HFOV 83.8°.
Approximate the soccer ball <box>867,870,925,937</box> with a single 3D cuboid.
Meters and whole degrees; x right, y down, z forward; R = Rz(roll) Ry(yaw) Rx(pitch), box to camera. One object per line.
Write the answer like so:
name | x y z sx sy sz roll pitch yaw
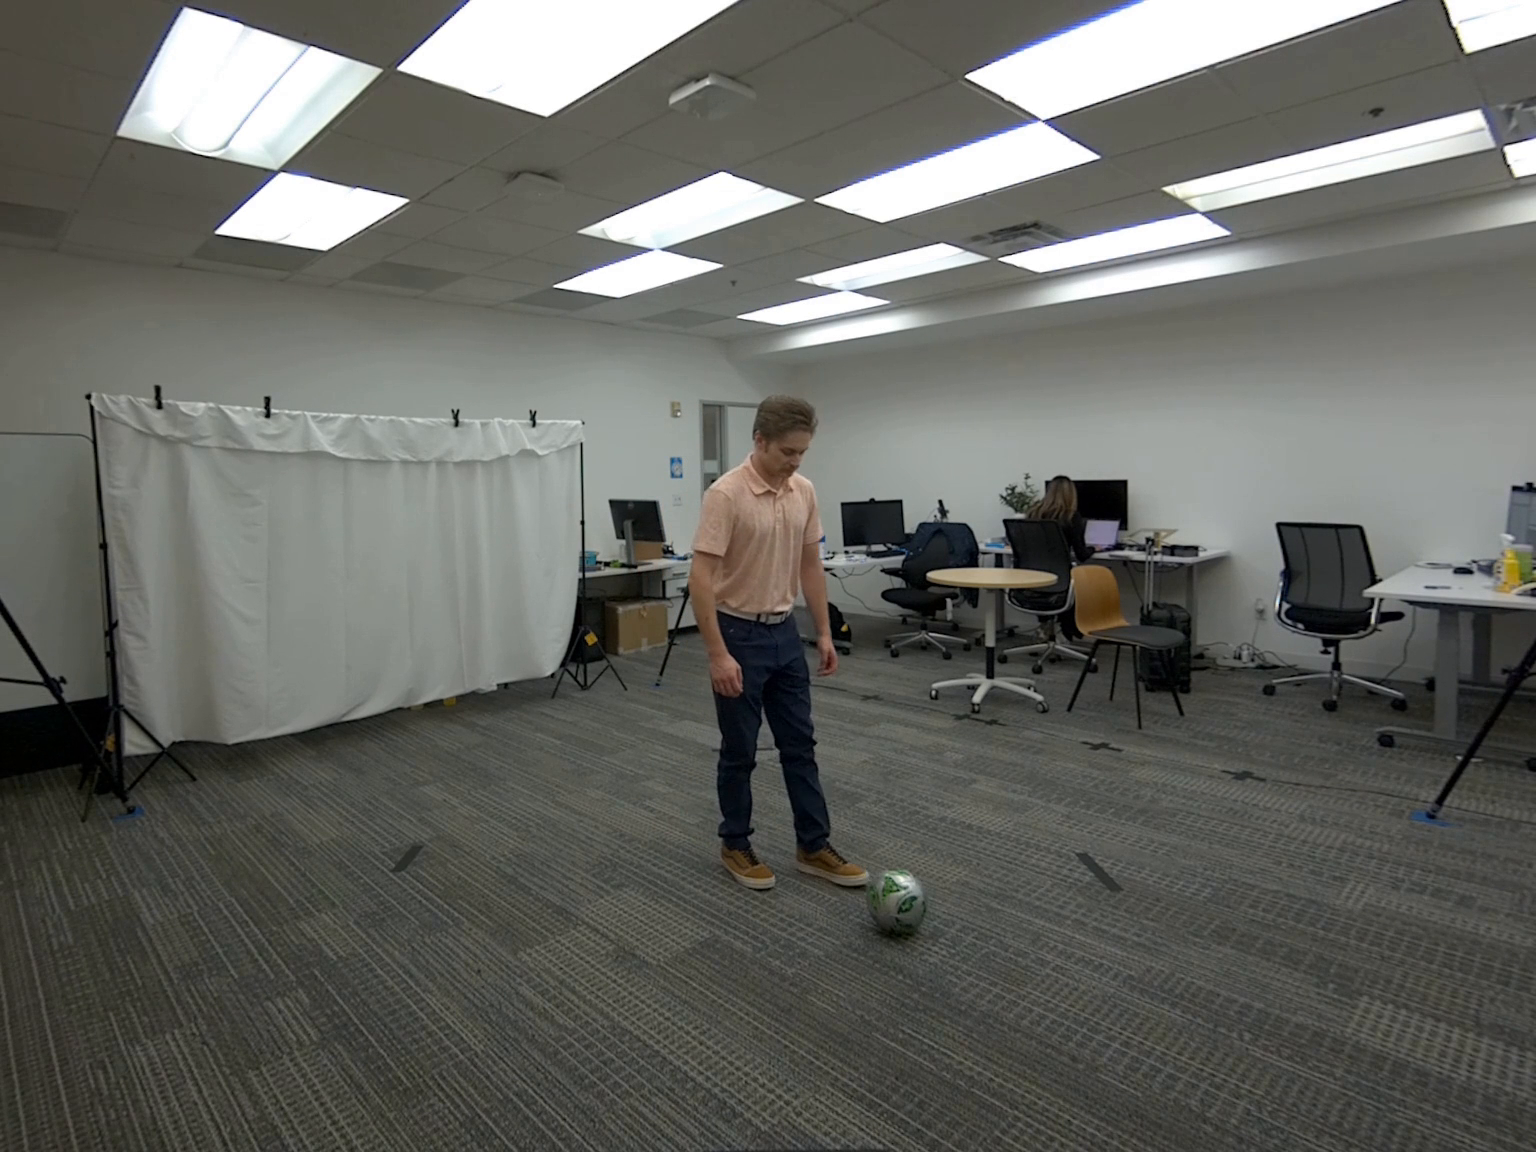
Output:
soccer ball | 0.402 1.001 2.629 0.187 0.187 0.188 -1 5 -2
